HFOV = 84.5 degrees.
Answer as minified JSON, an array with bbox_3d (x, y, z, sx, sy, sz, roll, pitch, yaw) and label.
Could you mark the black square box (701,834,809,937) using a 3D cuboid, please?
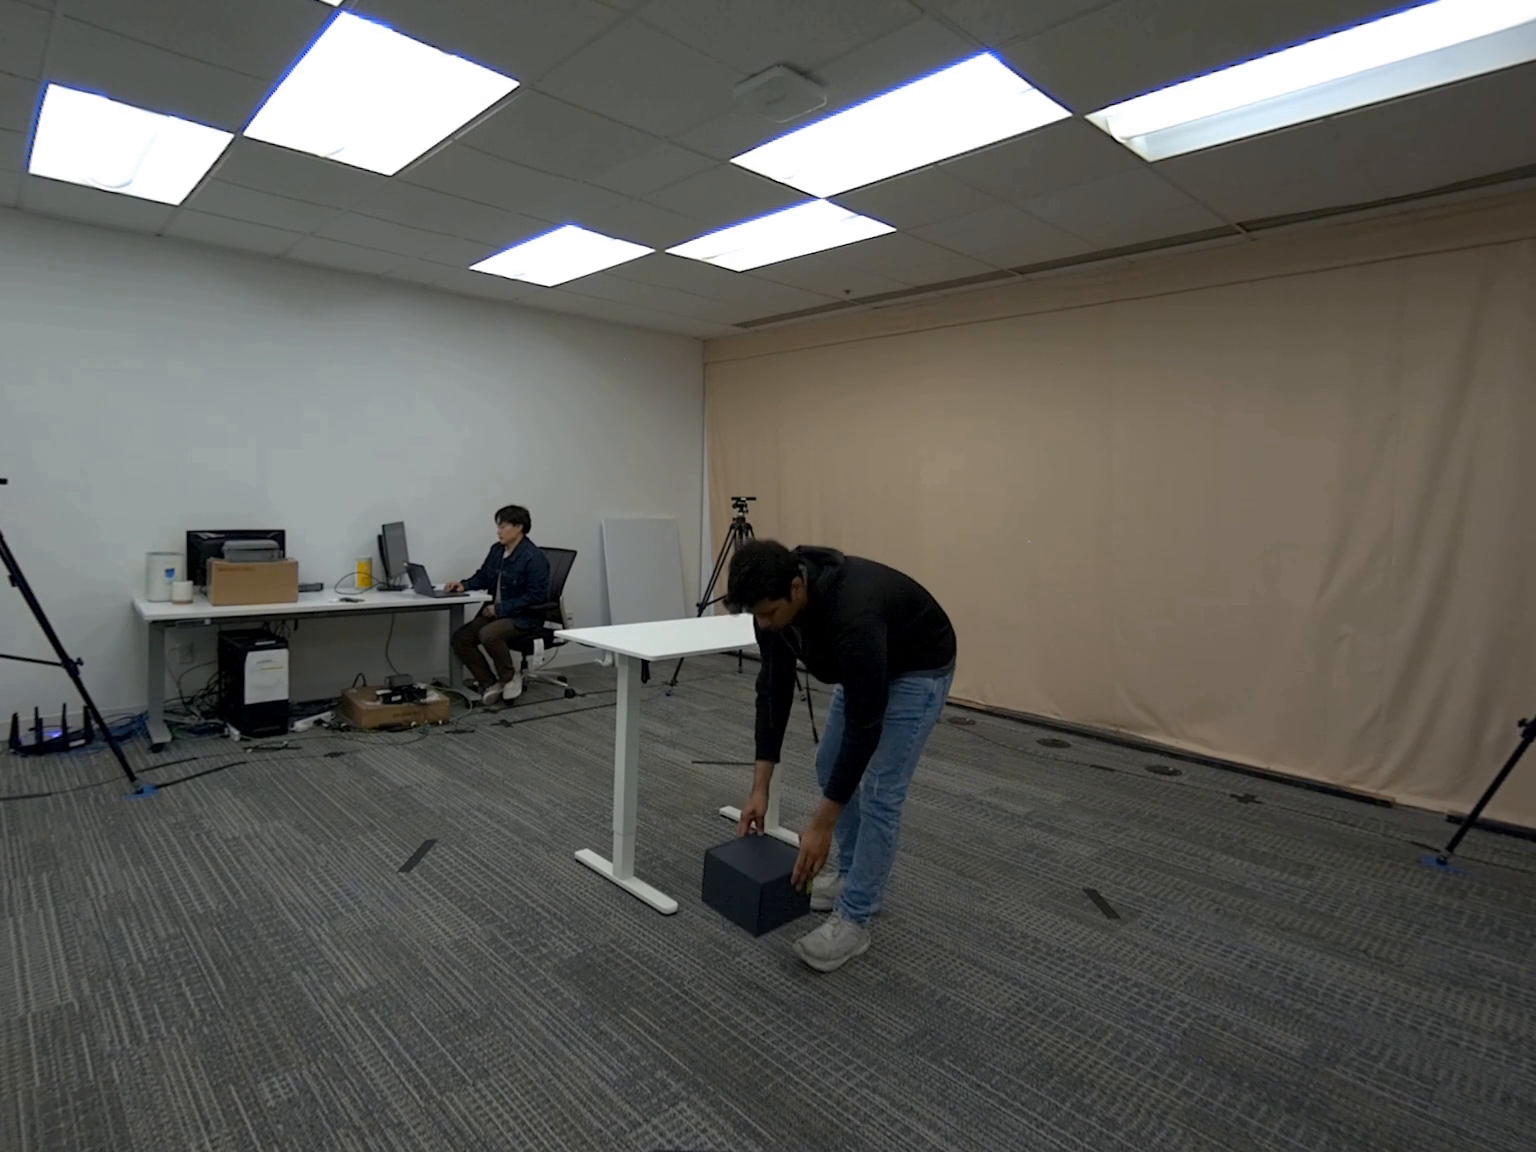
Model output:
[{"bbox_3d":[-0.032,0.845,2.367,0.234,0.155,0.212,12,10,44],"label":"black square box"}]
